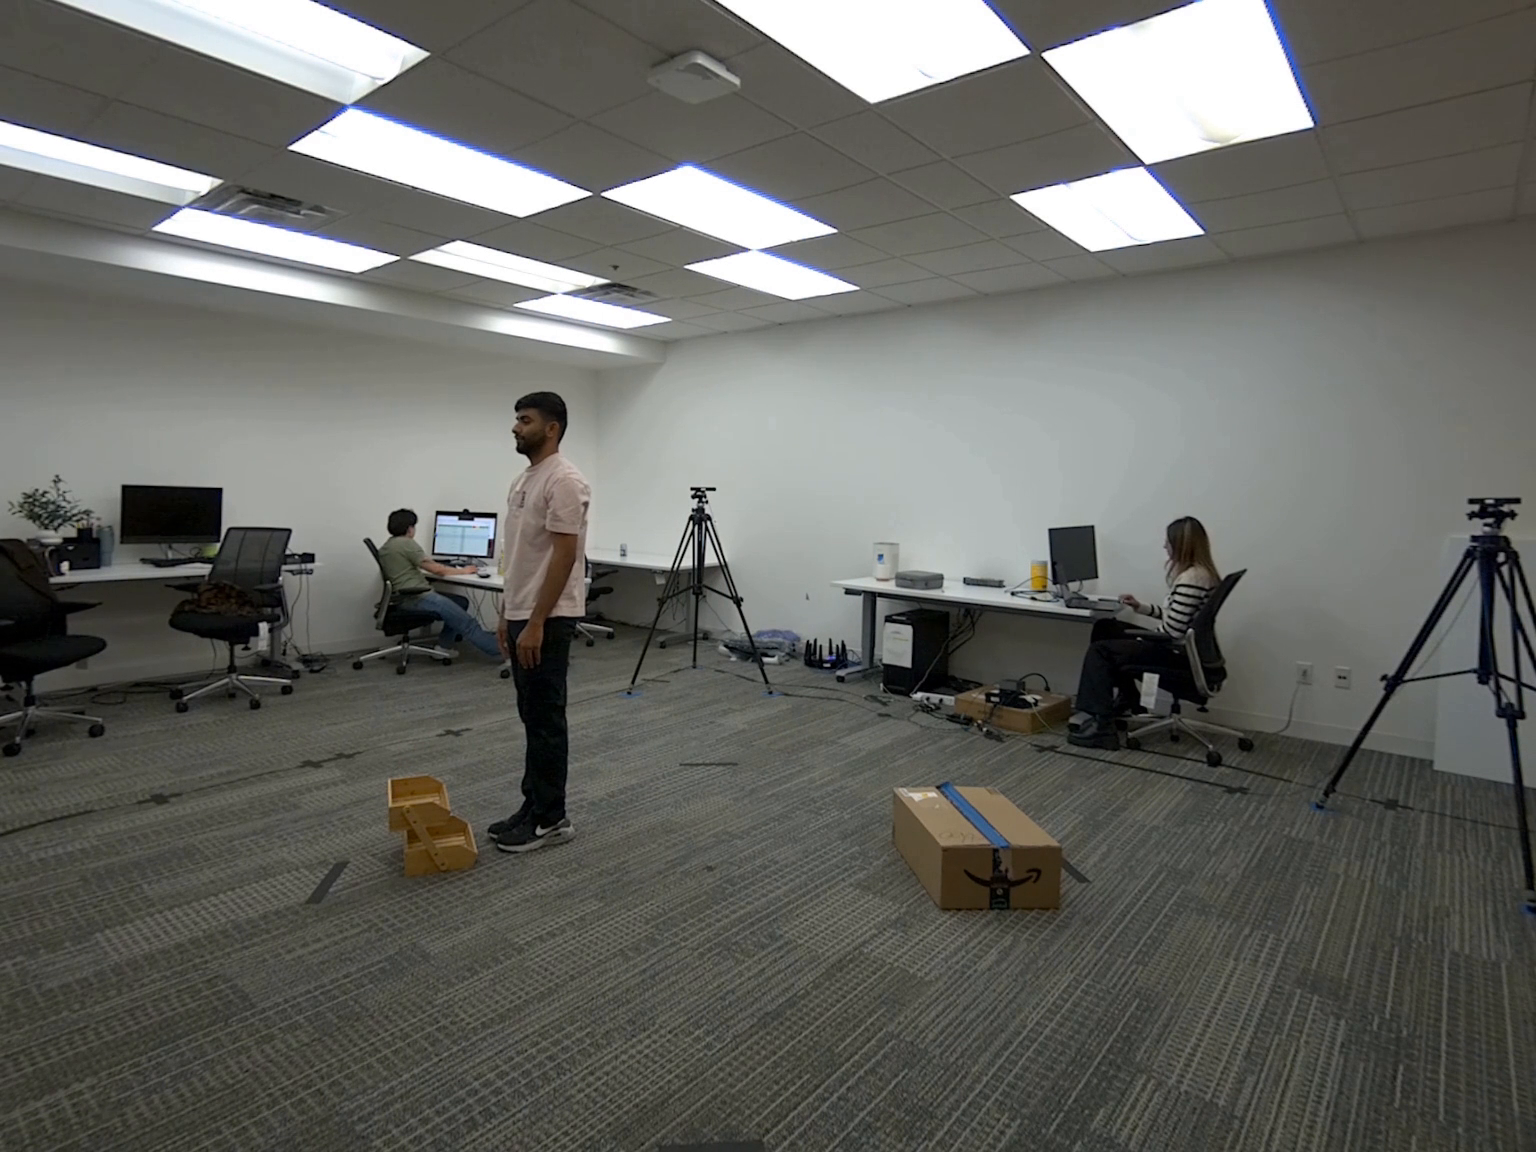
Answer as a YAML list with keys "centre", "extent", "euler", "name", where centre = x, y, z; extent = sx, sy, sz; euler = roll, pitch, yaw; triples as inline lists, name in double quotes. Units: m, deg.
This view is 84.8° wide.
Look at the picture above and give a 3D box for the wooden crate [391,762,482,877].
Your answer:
- centre: [-1.255, 0.902, 3.168]
  extent: [0.295, 0.272, 0.333]
  euler: [-2, 5, -23]
  name: "wooden crate"
